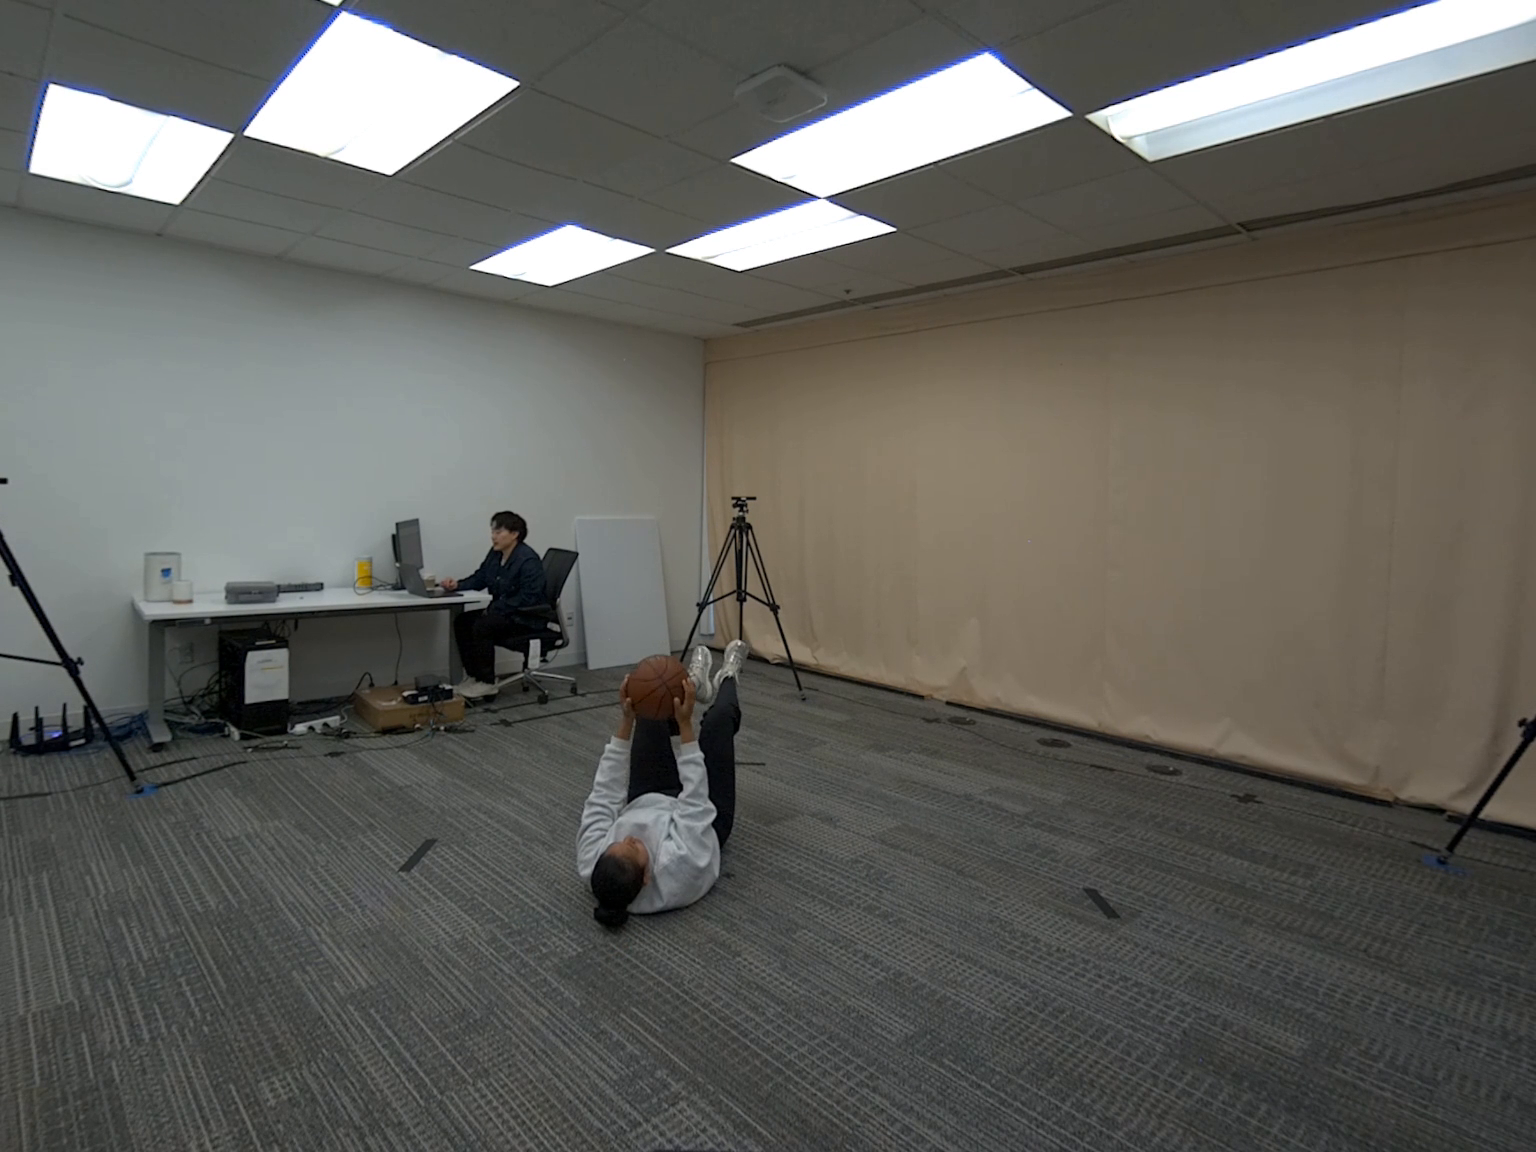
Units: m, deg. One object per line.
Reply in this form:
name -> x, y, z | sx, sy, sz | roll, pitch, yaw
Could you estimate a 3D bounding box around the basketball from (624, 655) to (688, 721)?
basketball -> -0.408, 0.415, 3.069 | 0.236, 0.235, 0.237 | 1, 5, -1
